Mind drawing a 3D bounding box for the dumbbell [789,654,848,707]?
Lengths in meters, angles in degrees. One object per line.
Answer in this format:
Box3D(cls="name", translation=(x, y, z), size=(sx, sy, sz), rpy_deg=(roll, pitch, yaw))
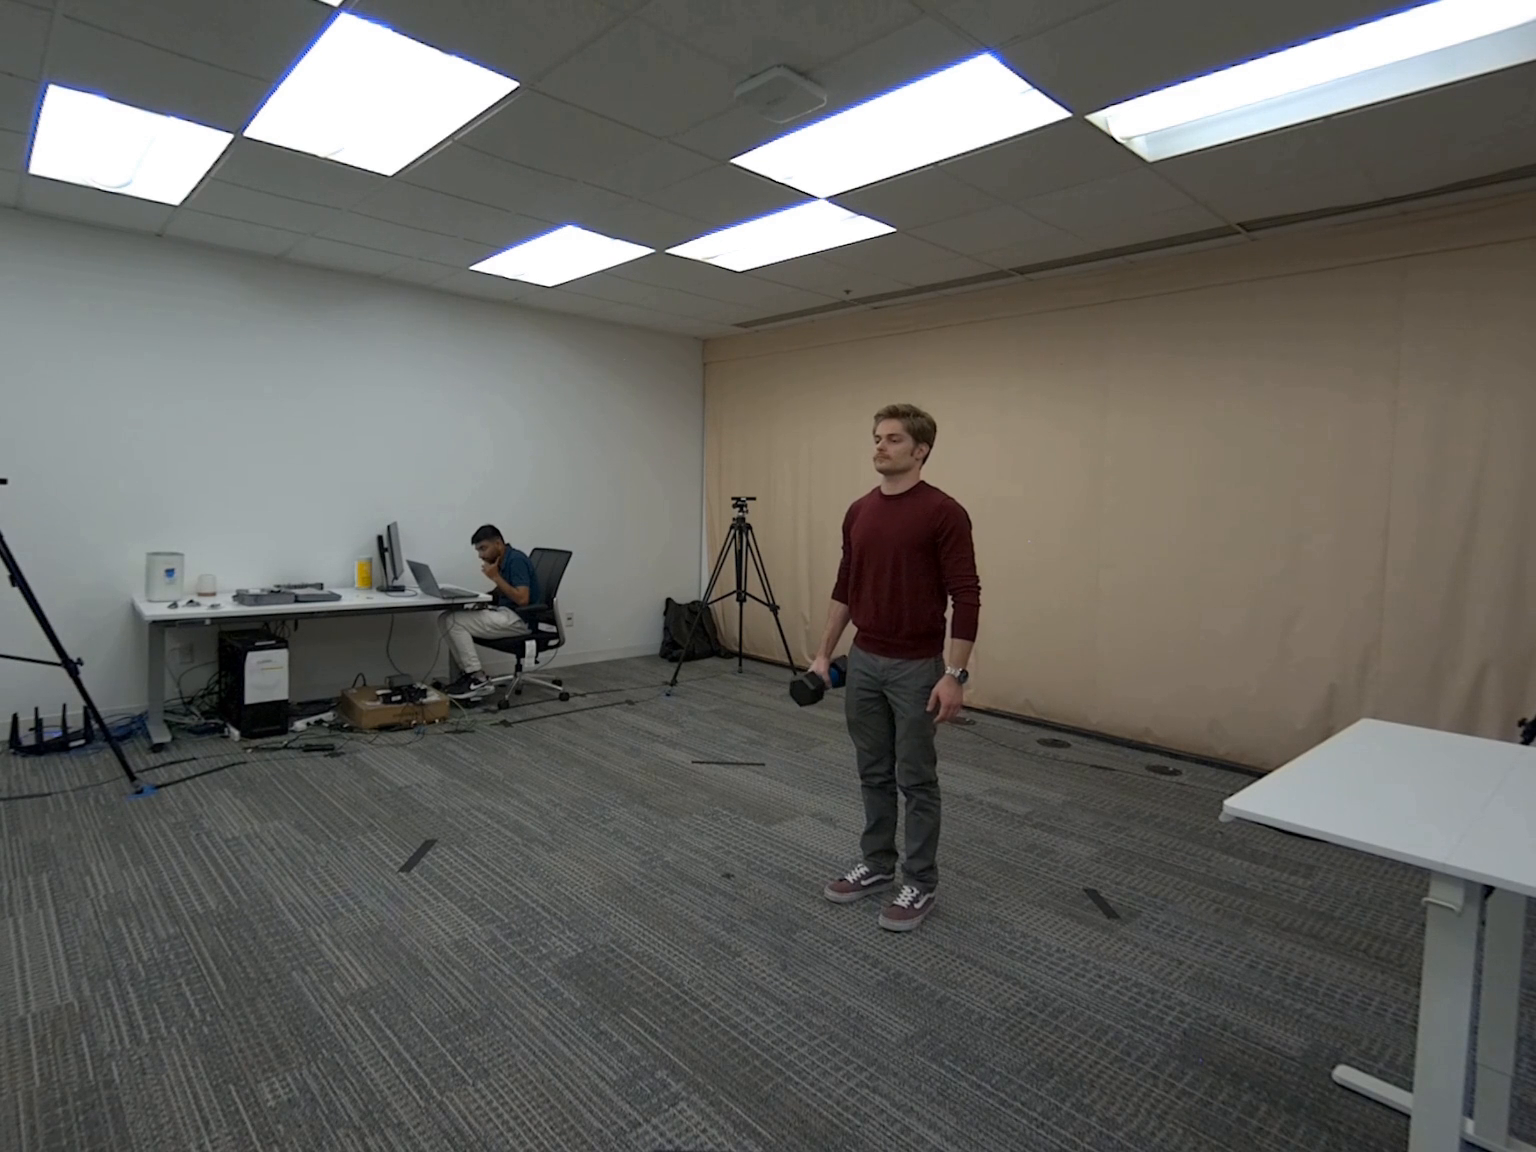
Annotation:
Box3D(cls="dumbbell", translation=(0.203, 0.369, 3.027), size=(0.112, 0.121, 0.289), rpy_deg=(16, 21, 35))
